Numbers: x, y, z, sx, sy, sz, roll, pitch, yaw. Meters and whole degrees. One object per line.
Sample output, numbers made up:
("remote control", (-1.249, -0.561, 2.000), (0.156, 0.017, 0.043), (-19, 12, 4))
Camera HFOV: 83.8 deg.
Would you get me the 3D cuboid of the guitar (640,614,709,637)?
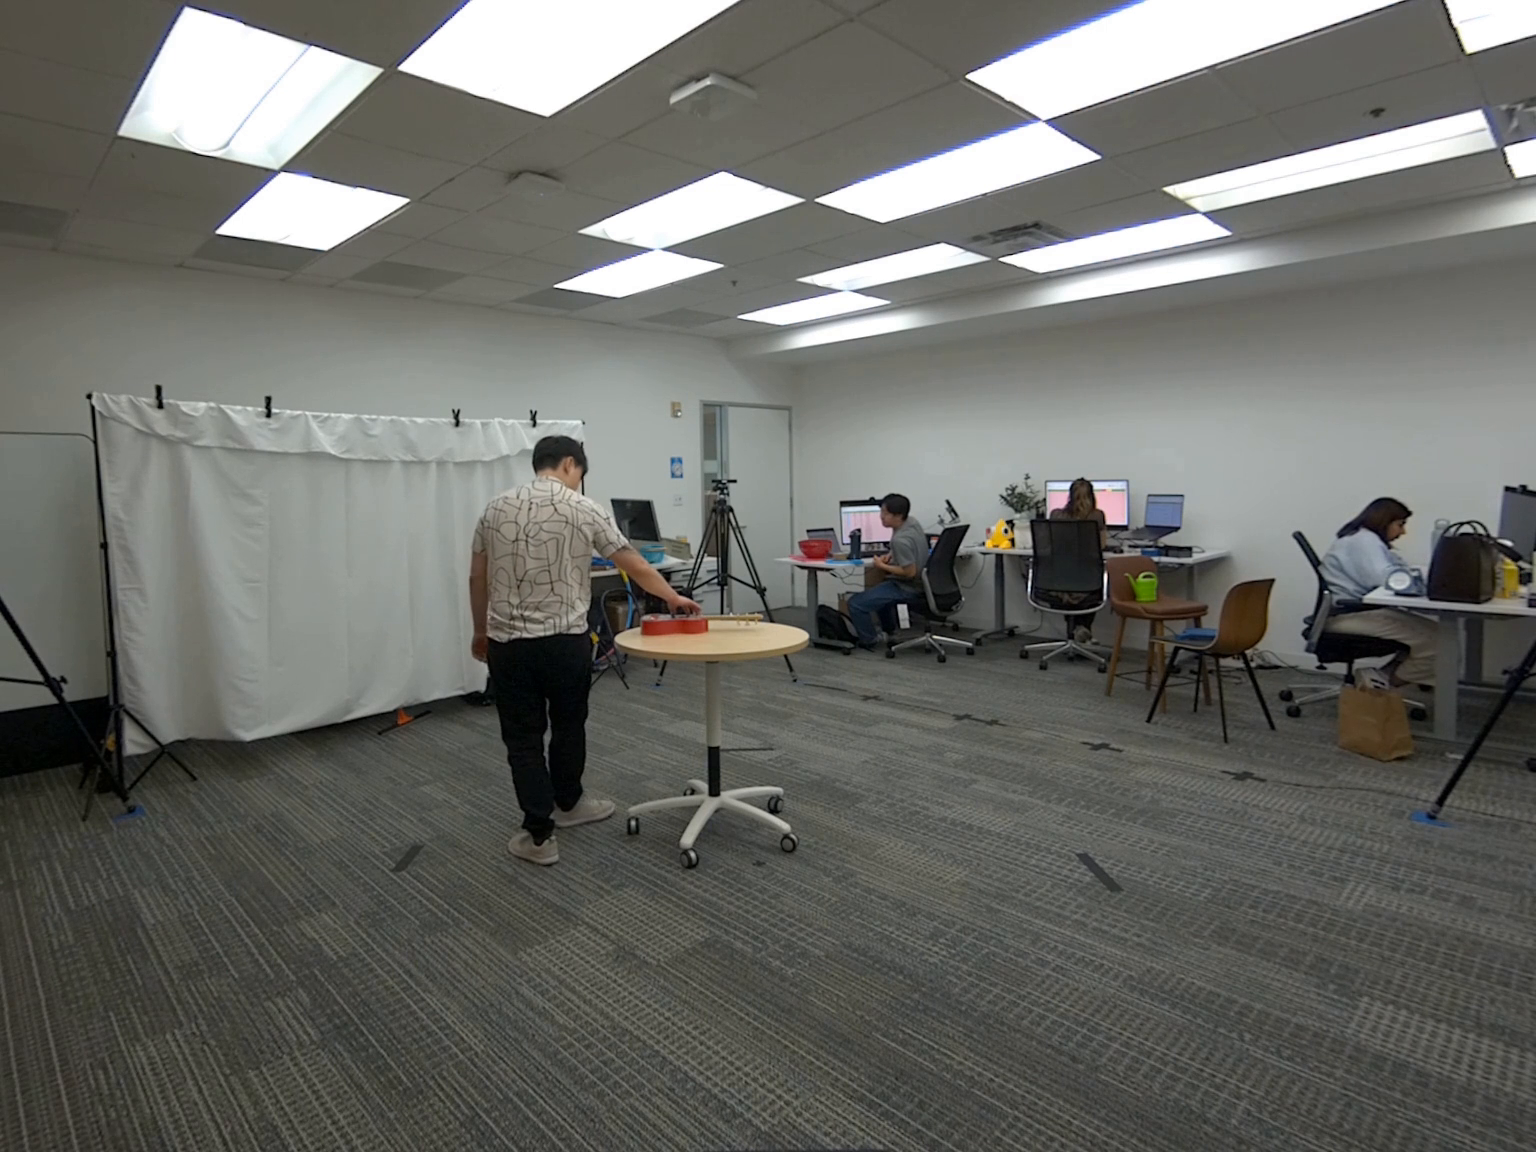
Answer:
("guitar", (-0.275, 0.195, 3.466), (0.503, 0.070, 0.192), (0, 4, 10))
